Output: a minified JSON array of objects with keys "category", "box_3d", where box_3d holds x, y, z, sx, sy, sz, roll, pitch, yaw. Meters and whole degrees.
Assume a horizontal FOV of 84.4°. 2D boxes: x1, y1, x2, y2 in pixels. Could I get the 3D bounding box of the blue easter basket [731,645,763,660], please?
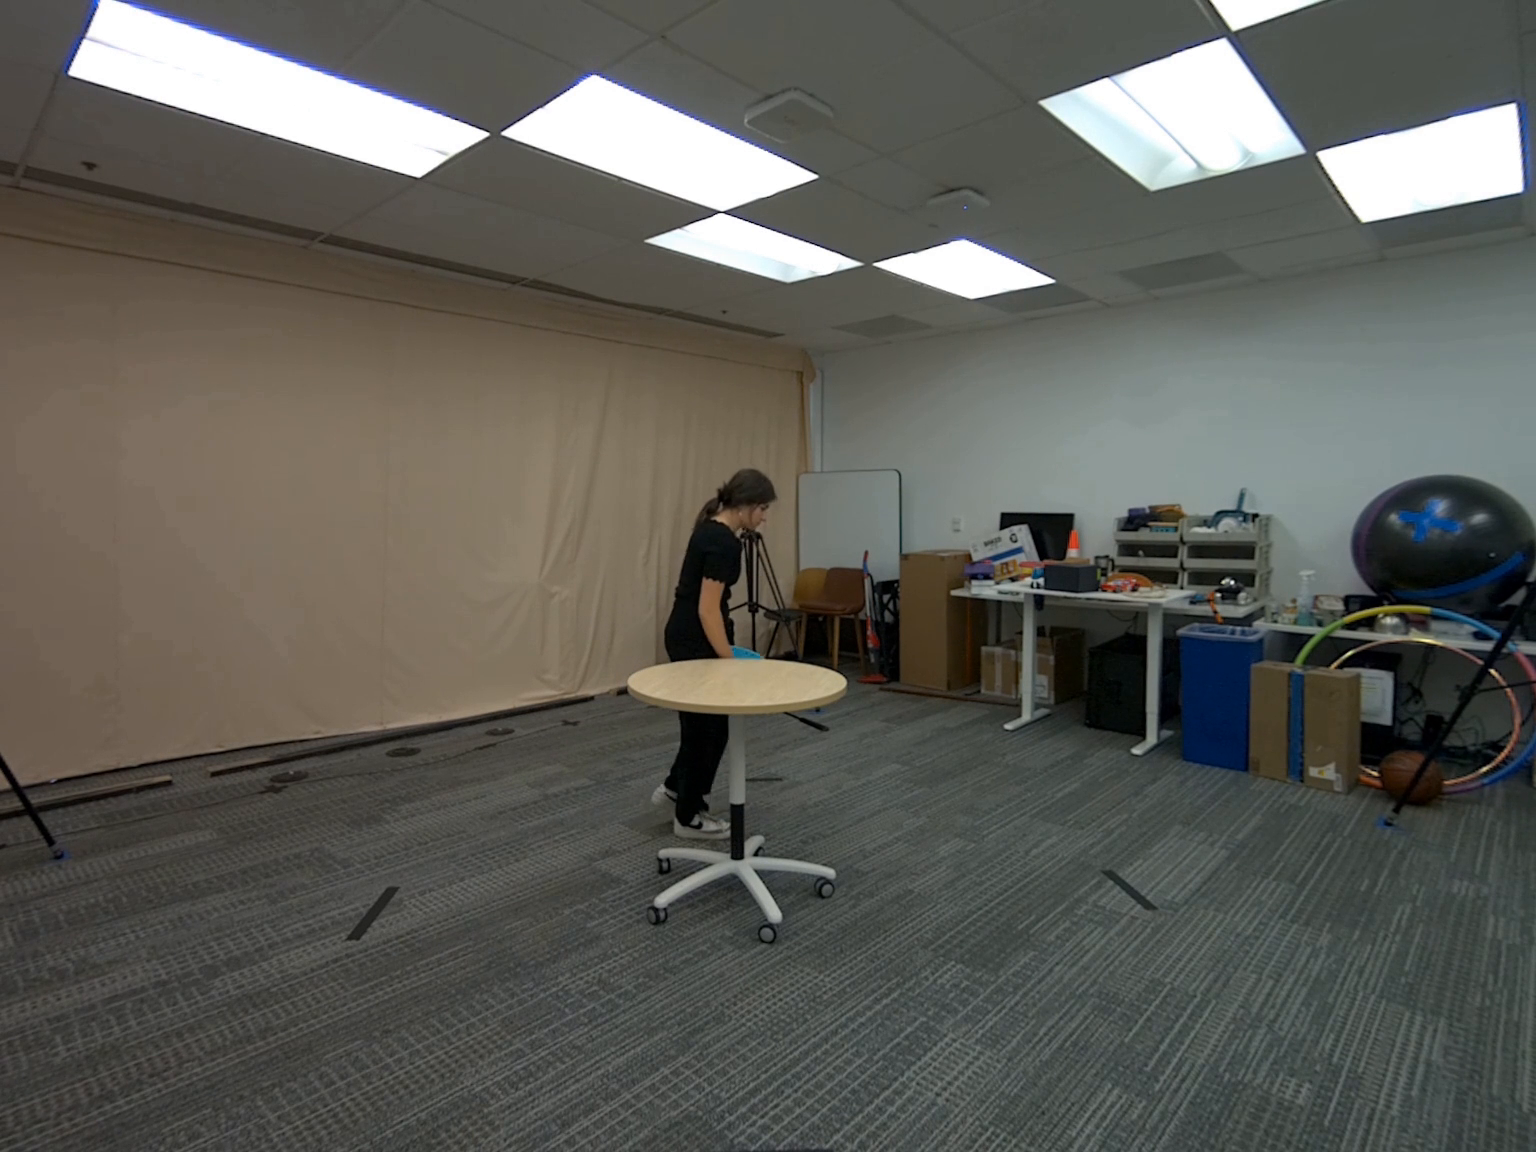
[{"category":"blue easter basket","box_3d":[-0.124,0.434,3.835,0.242,0.155,0.245,13,11,-4]}]
